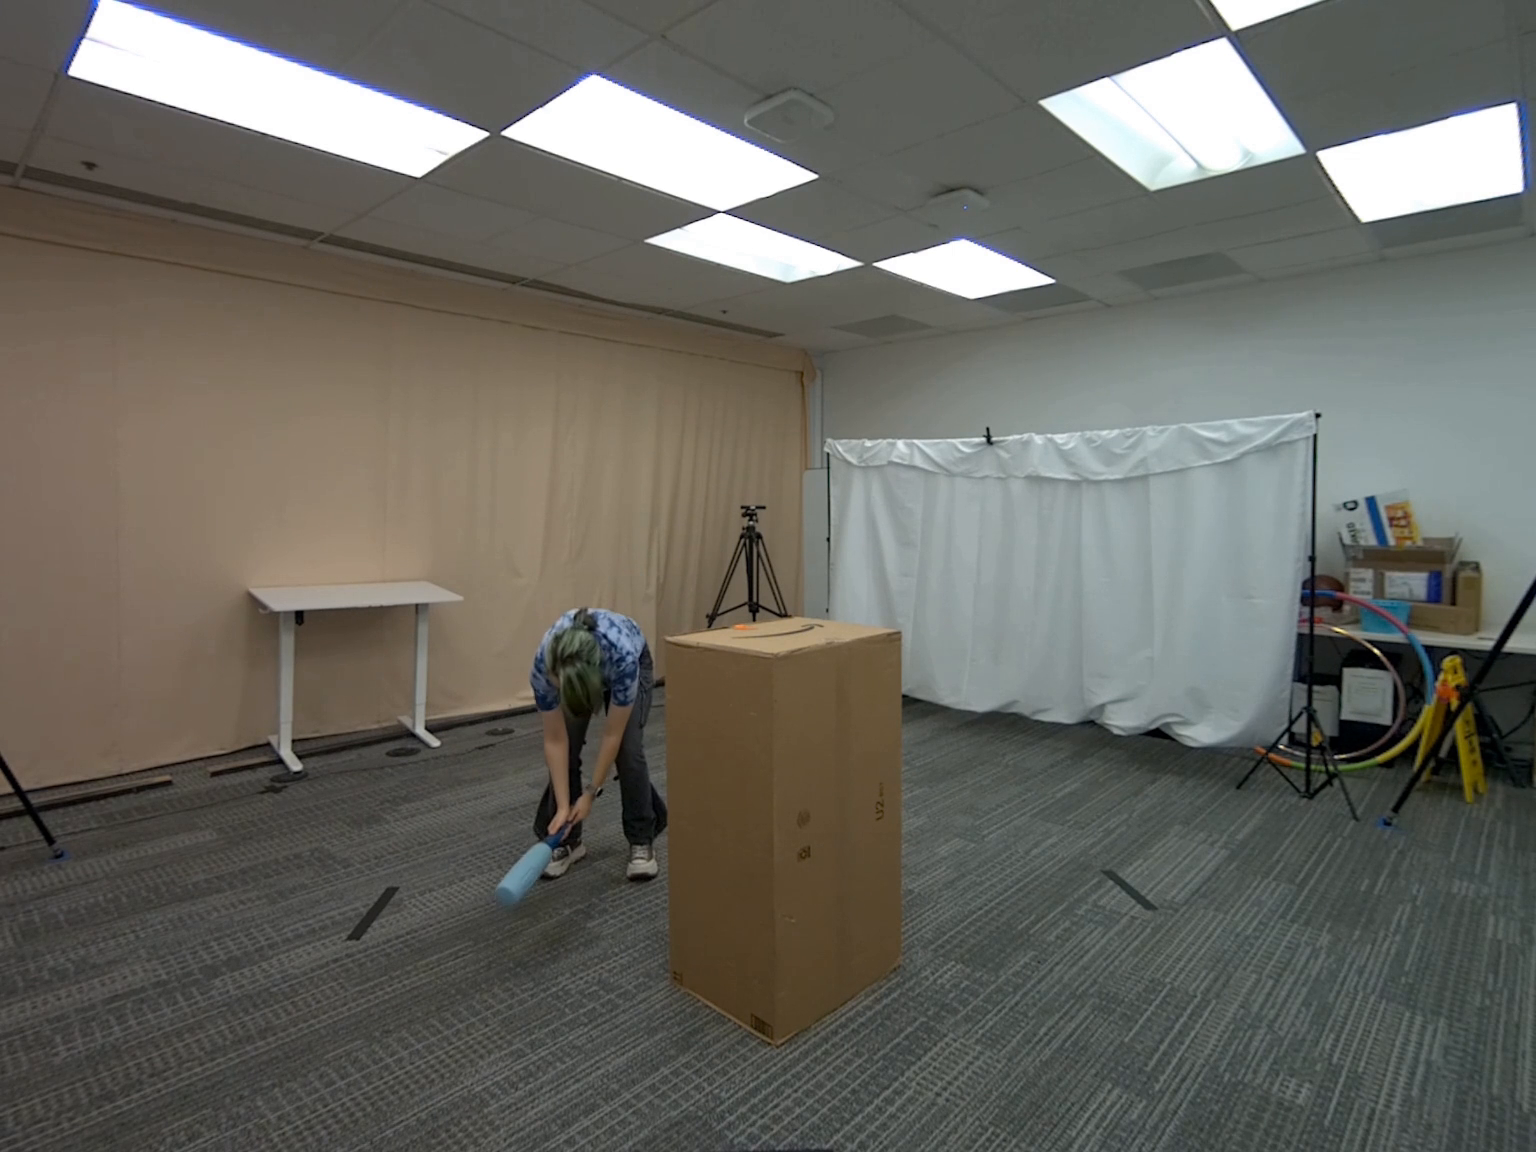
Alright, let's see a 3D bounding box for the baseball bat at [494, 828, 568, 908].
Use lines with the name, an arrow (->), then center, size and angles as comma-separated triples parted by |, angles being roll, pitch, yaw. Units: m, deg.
baseball bat -> -0.733, 0.914, 2.813 | 0.090, 0.088, 0.540 | 1, 18, 14
